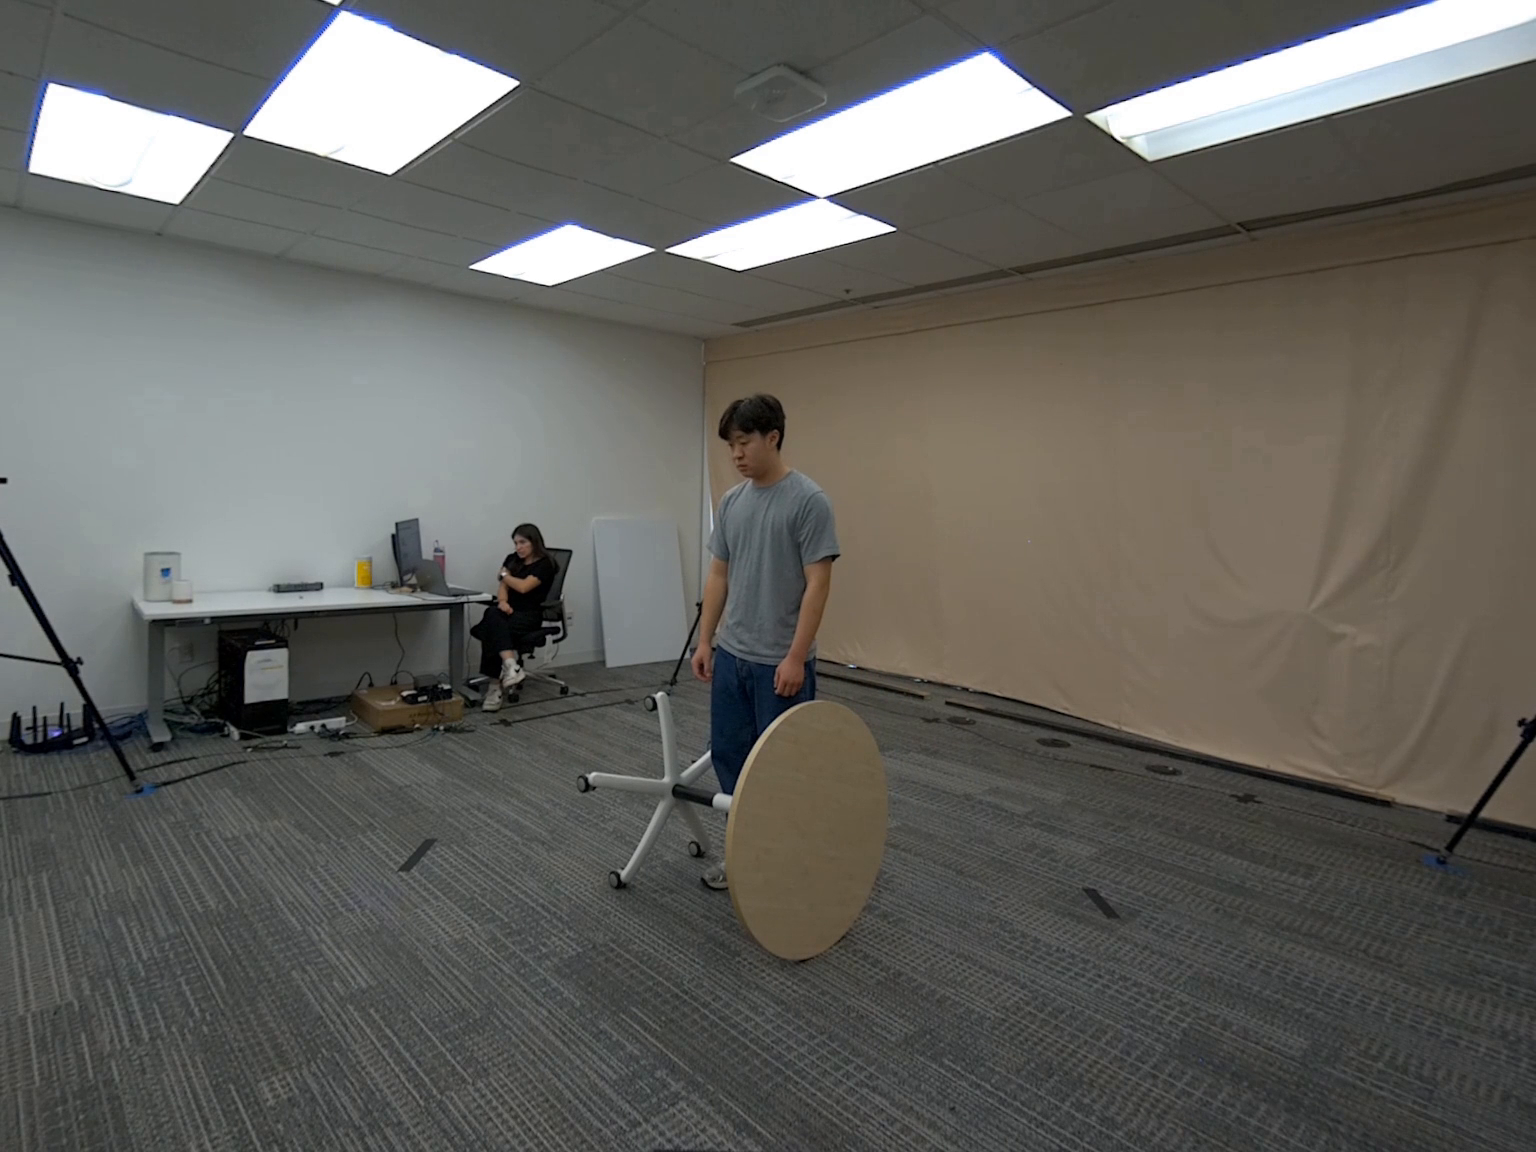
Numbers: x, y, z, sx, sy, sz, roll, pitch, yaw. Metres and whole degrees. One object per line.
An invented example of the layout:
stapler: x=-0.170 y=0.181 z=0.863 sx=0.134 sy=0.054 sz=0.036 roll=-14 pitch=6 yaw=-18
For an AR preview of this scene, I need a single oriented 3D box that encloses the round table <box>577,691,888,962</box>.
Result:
round table: x=-0.153 y=0.787 z=2.869 sx=0.812 sy=0.764 sz=0.747 roll=-3 pitch=1 yaw=43
